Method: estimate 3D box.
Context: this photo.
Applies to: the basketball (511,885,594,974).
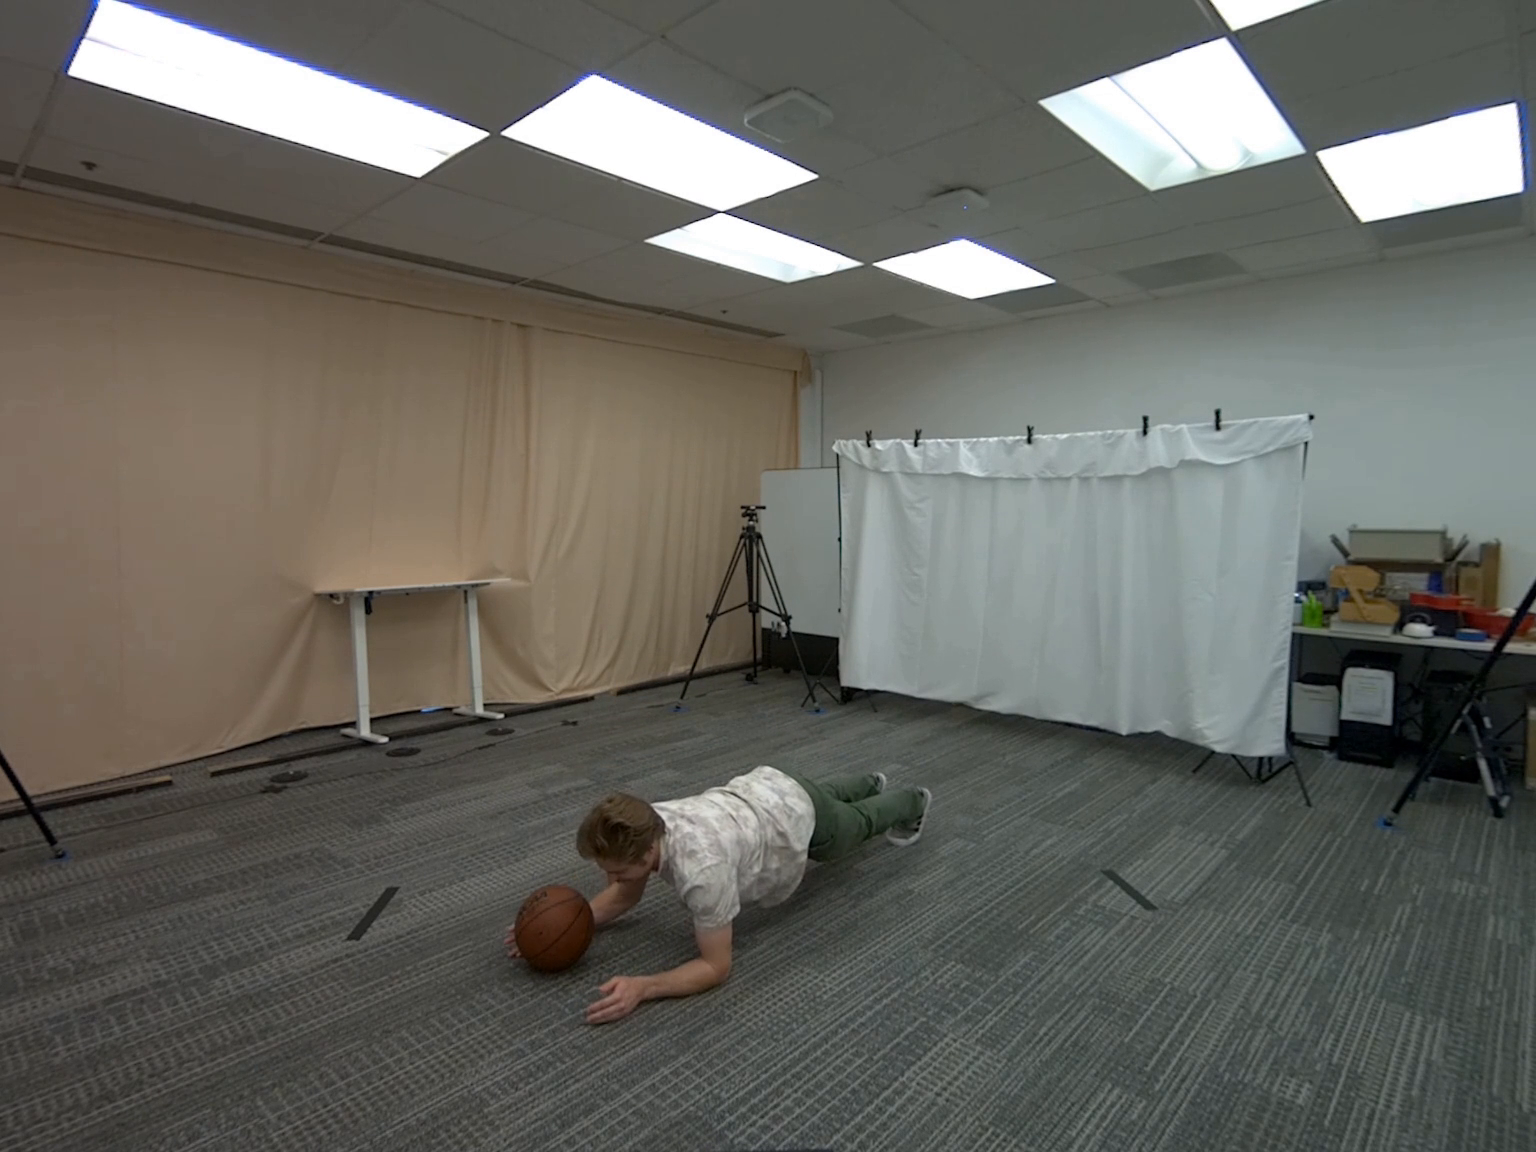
[{"bbox_3d":[-0.646,1.061,2.558,0.236,0.235,0.237,0,4,-2],"label":"basketball"}]
